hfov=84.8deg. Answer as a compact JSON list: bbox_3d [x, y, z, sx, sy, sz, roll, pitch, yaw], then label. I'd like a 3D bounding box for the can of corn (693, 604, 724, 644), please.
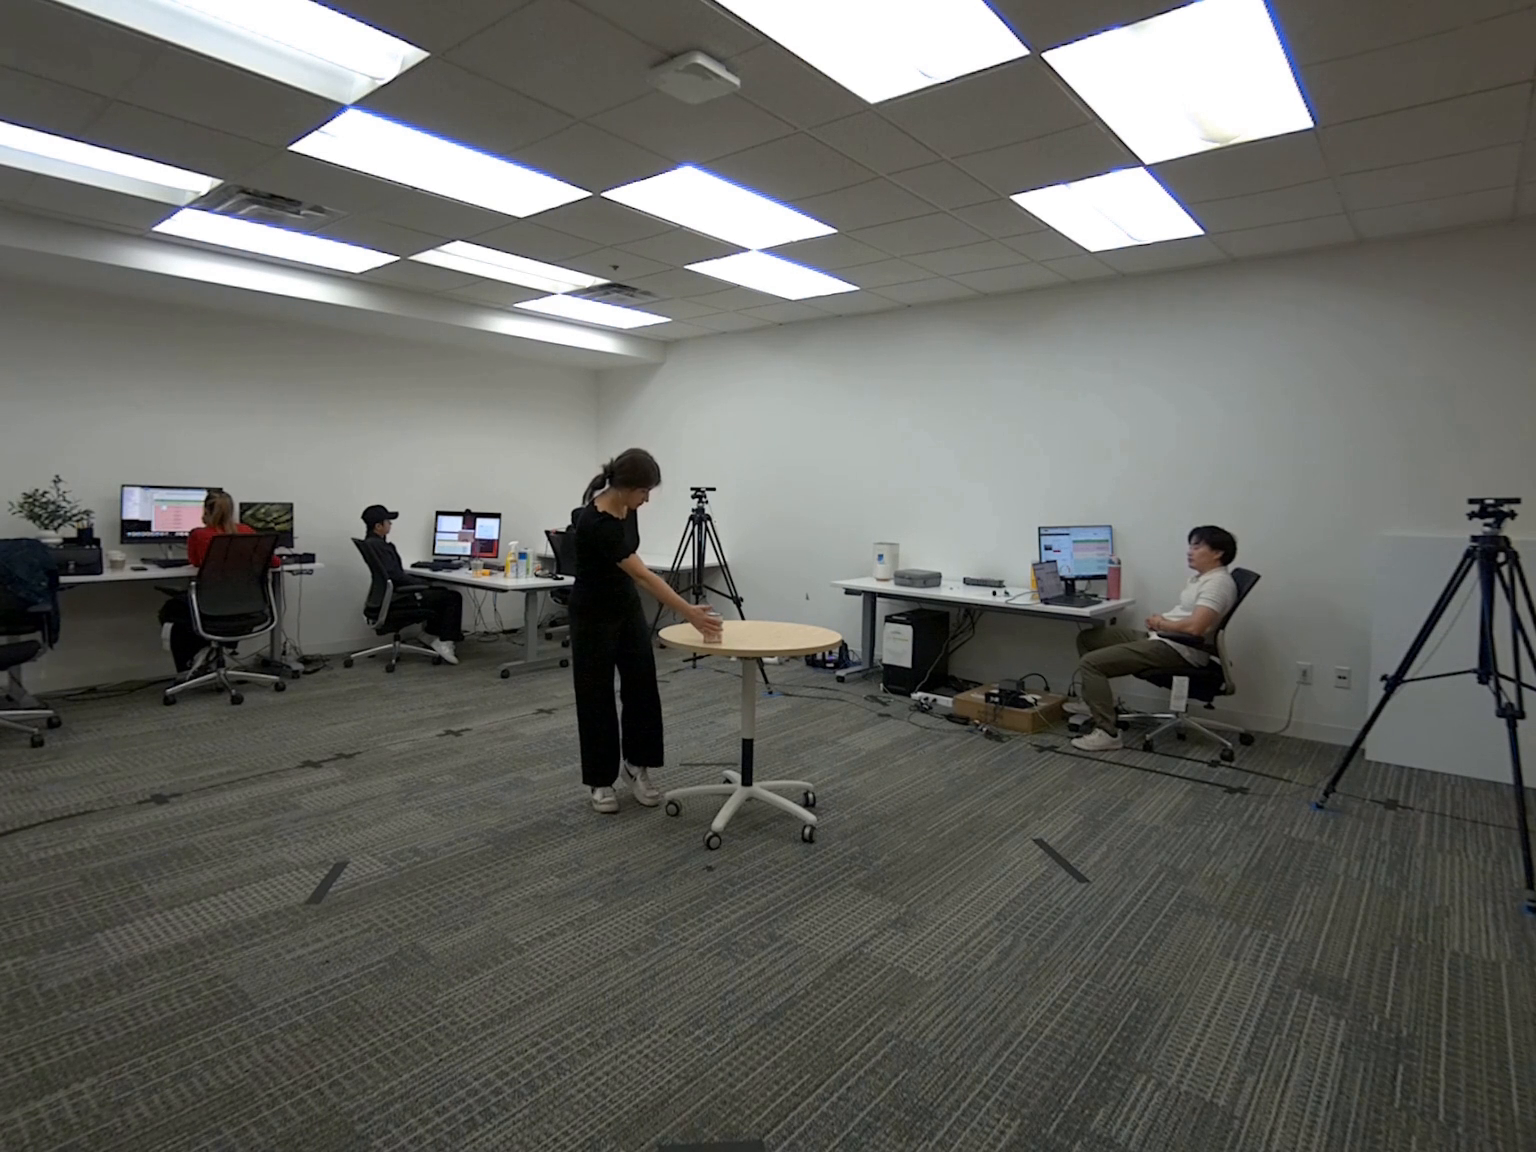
[{"bbox_3d":[-0.225,0.203,3.351,0.074,0.110,0.075,2,6,-2],"label":"can of corn"}]
